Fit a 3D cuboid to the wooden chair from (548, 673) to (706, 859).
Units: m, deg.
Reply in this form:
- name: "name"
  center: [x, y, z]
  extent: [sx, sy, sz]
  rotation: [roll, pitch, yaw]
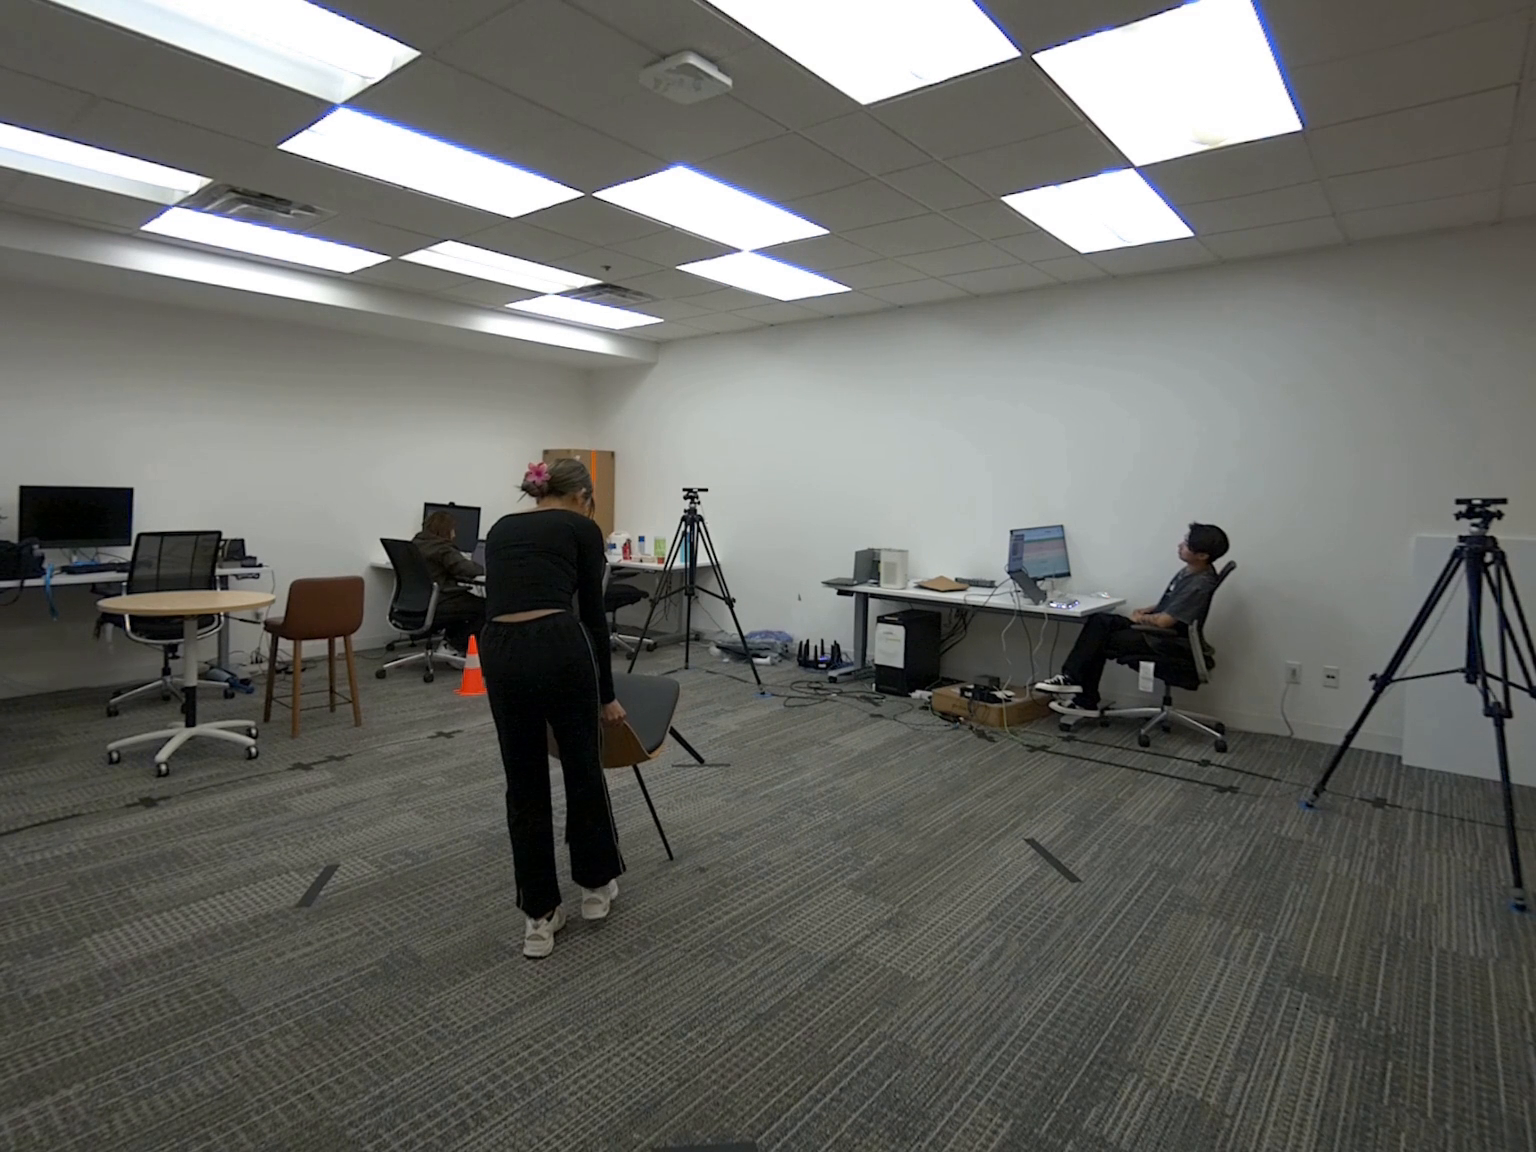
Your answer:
- name: "wooden chair"
  center: [-0.585, 0.571, 3.166]
  extent: [0.487, 0.847, 0.531]
  rotation: [2, 44, 17]
